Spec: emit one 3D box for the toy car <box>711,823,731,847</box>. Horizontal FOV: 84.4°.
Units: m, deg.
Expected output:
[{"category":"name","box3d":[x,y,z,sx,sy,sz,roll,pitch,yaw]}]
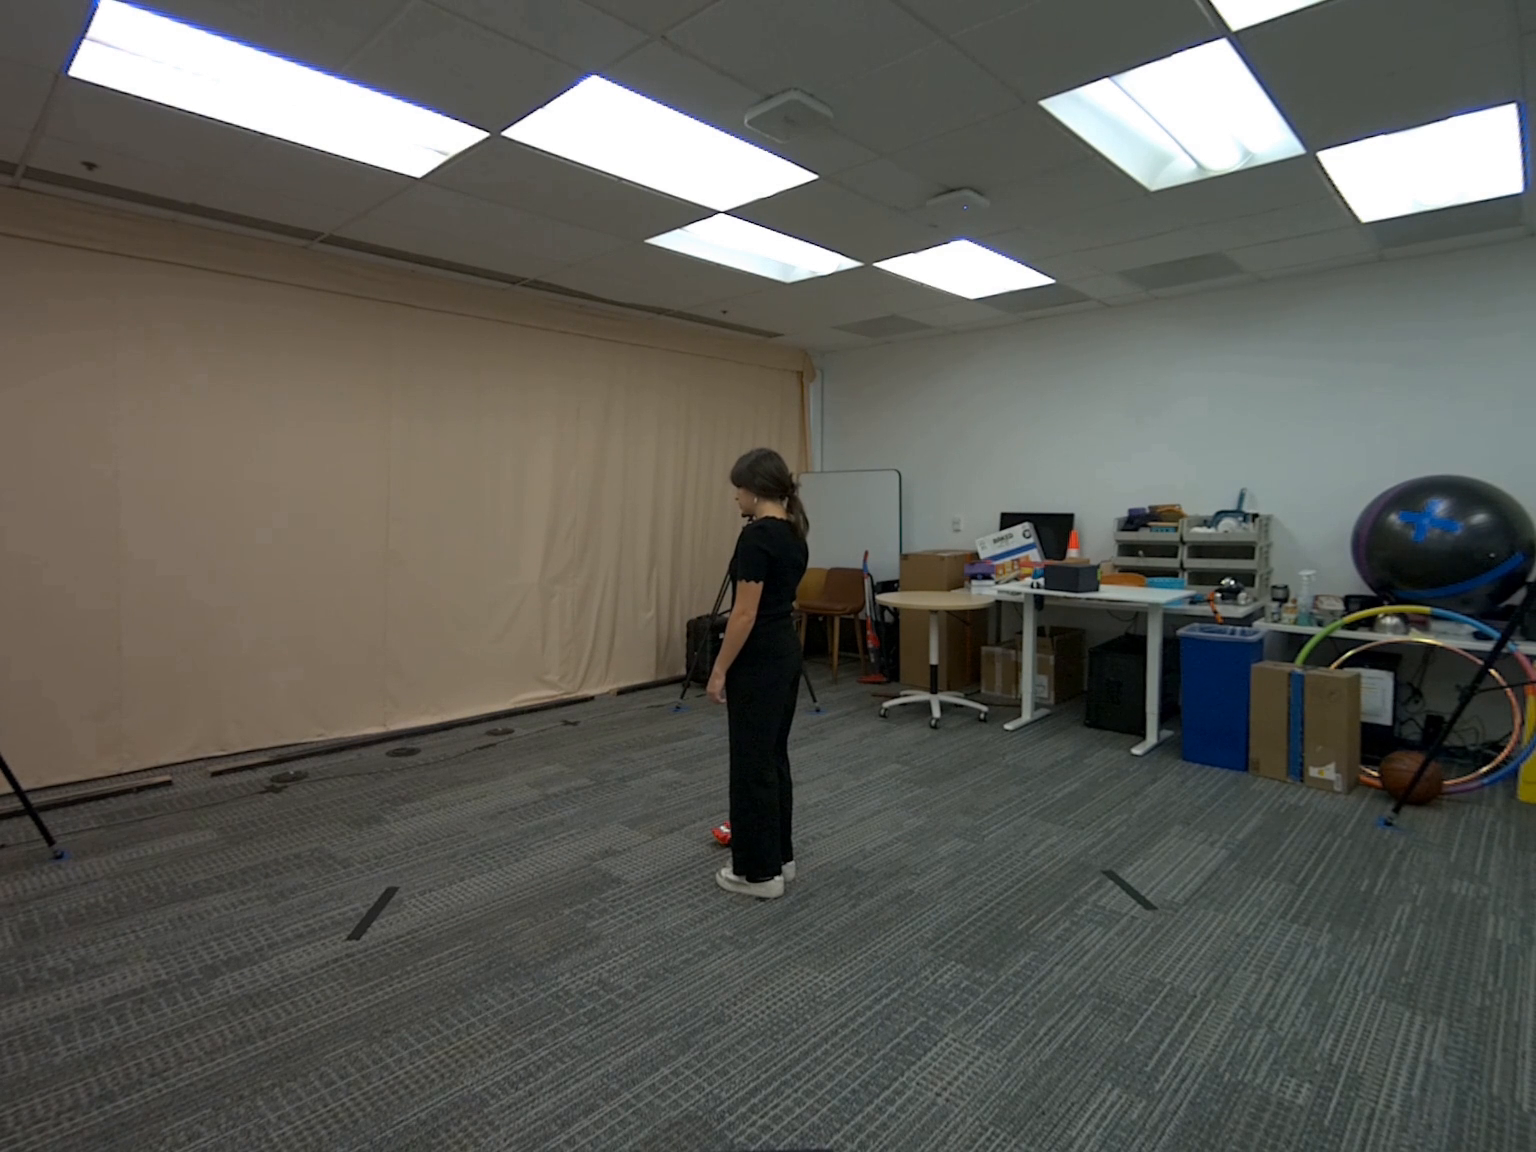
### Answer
[{"category":"toy car","box3d":[-0.114,1.068,3.489,0.249,0.083,0.133,10,-1,-21]}]
